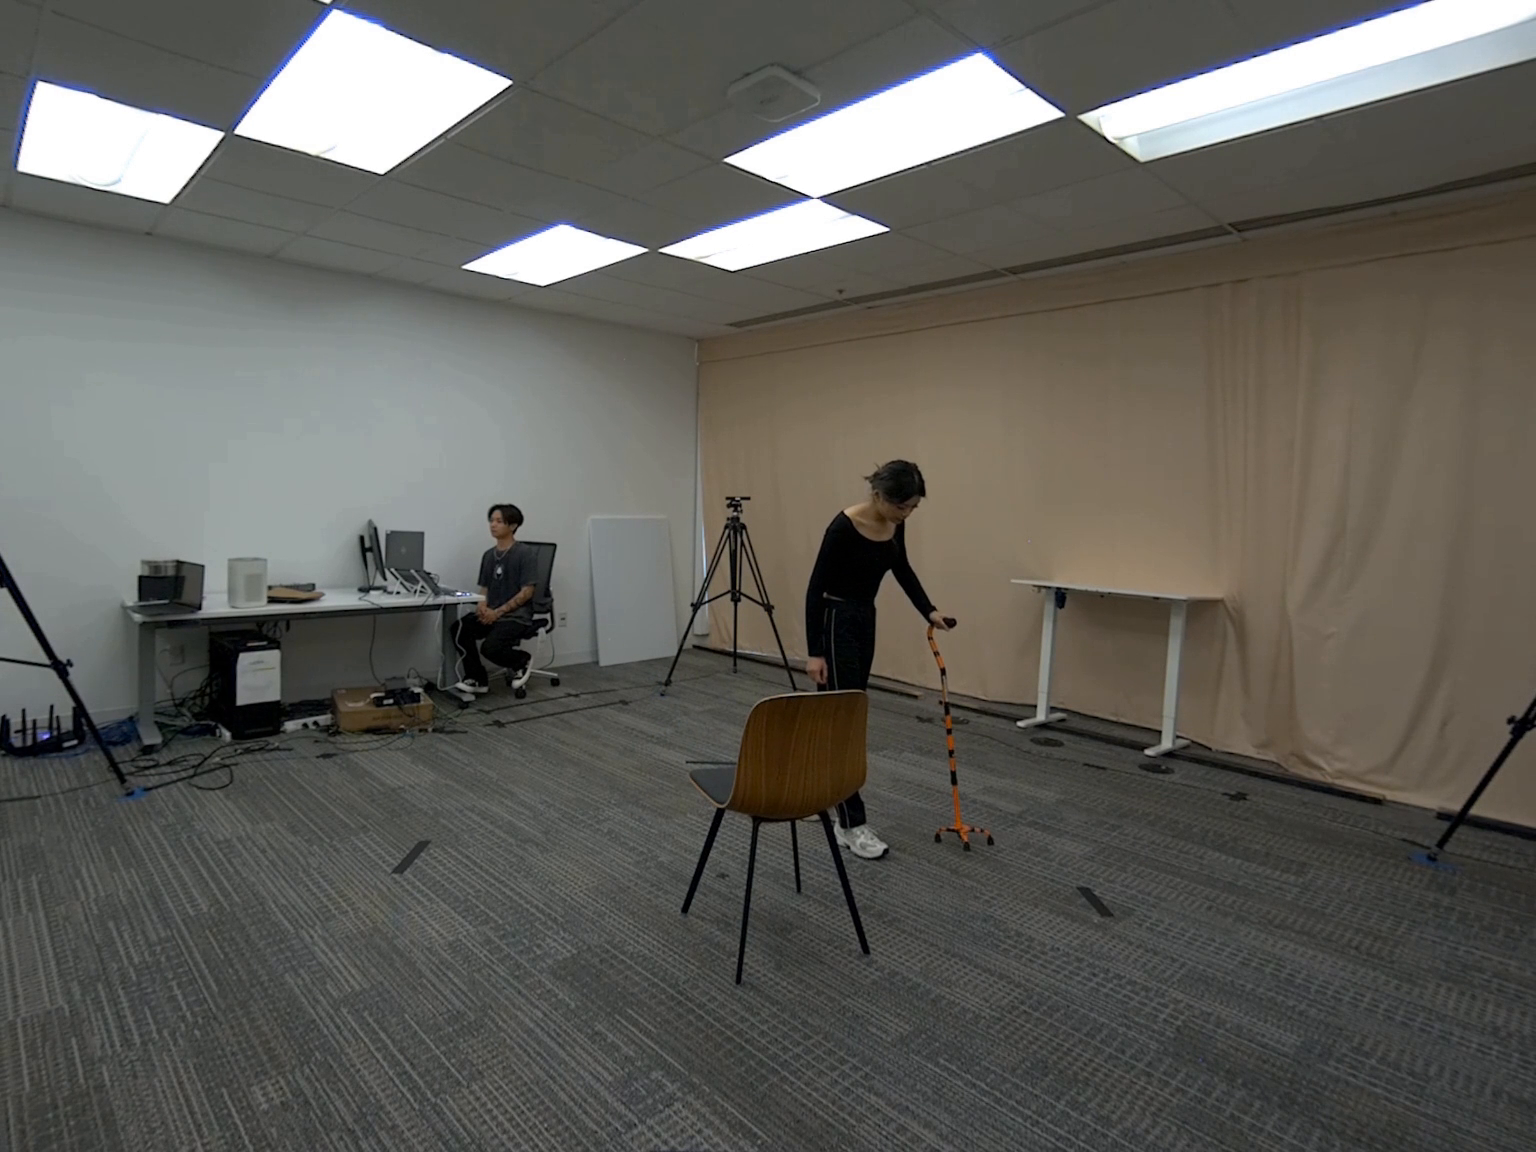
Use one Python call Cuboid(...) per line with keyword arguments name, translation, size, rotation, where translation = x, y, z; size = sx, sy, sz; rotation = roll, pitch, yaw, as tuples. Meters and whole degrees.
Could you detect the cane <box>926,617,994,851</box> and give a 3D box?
Cuboid(name="cane", translation=(0.750, 0.635, 3.450), size=(0.149, 0.910, 0.210), rotation=(-2, -3, -27))
